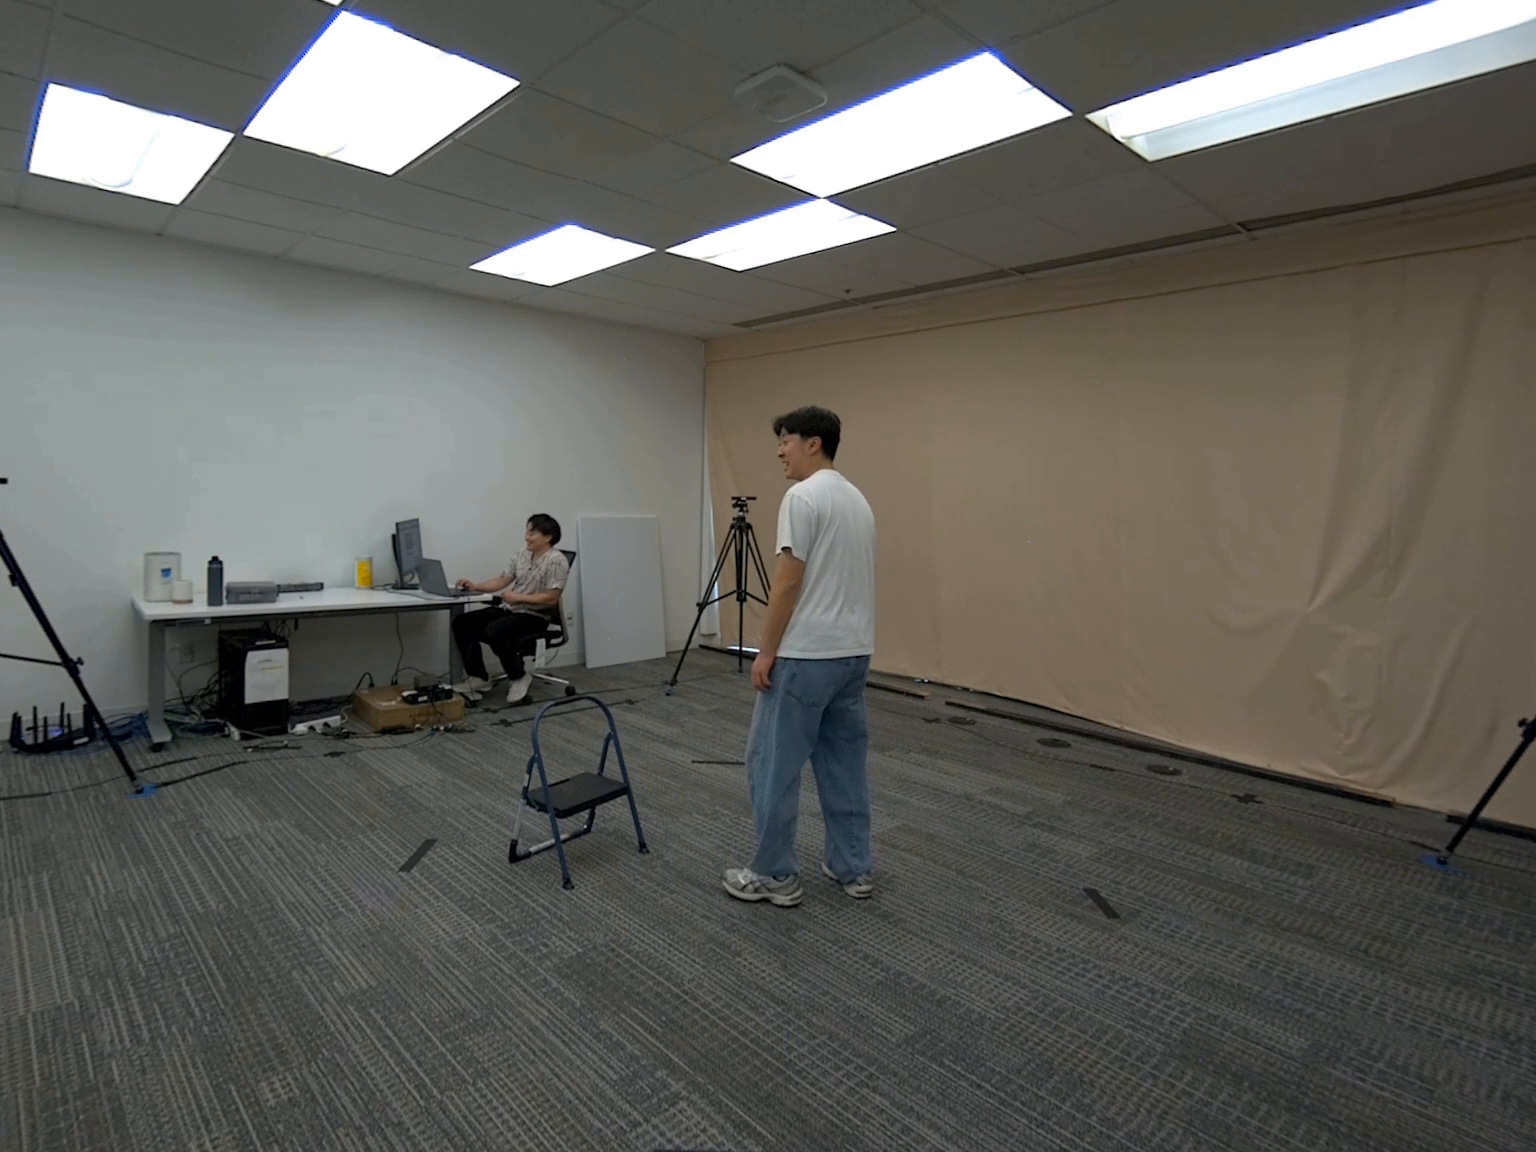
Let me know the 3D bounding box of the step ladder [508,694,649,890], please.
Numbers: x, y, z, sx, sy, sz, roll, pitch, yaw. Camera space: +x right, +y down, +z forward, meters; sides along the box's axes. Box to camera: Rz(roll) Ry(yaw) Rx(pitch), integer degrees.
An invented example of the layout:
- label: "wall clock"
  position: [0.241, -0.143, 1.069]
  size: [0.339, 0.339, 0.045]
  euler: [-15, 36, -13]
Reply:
- label: "step ladder"
  position: [-0.723, 0.777, 3.222]
  size: [0.357, 0.604, 0.421]
  euler: [4, 4, 35]
